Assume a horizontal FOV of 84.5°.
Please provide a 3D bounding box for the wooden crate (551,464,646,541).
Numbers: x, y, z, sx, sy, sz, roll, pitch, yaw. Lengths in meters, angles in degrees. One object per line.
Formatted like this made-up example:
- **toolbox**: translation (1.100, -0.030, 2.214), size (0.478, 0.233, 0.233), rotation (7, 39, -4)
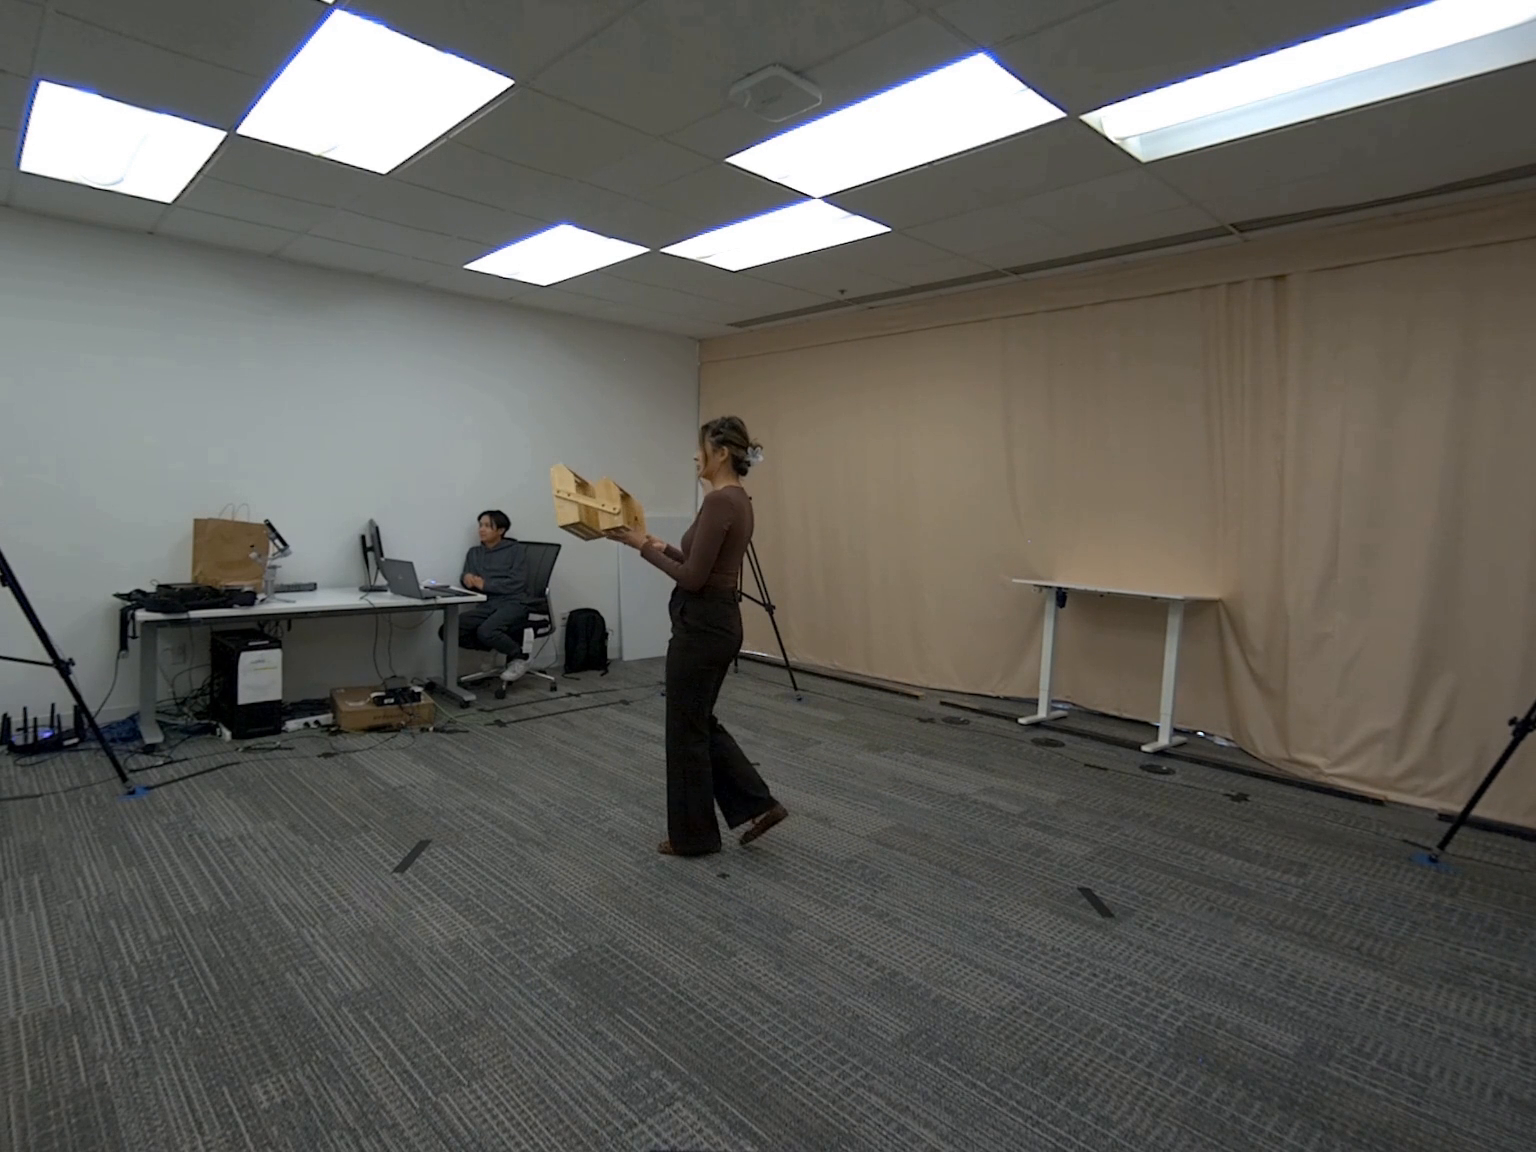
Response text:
- **wooden crate**: translation (-0.657, -0.282, 3.323), size (0.275, 0.305, 0.319), rotation (-11, -12, 7)
